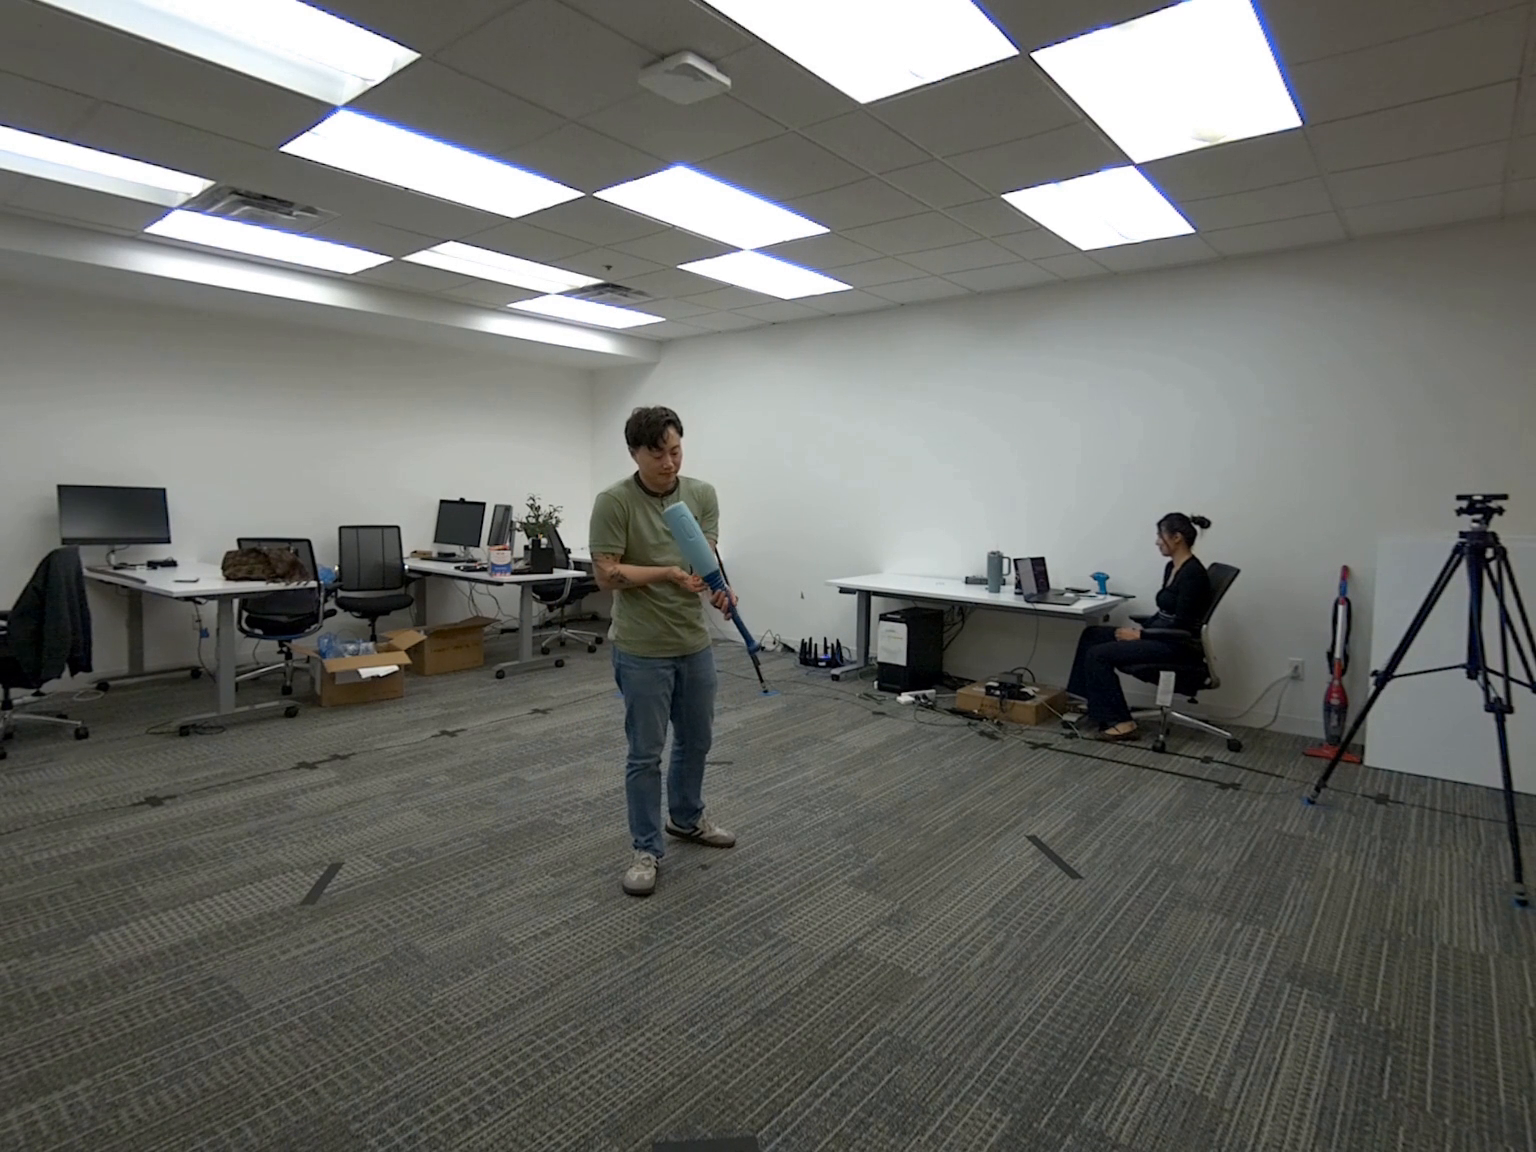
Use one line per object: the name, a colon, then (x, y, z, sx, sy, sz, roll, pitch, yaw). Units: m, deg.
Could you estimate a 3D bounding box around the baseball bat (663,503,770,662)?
baseball bat: (-0.171, 0.011, 2.734, 0.089, 0.545, 0.089, -29, -2, -2)
